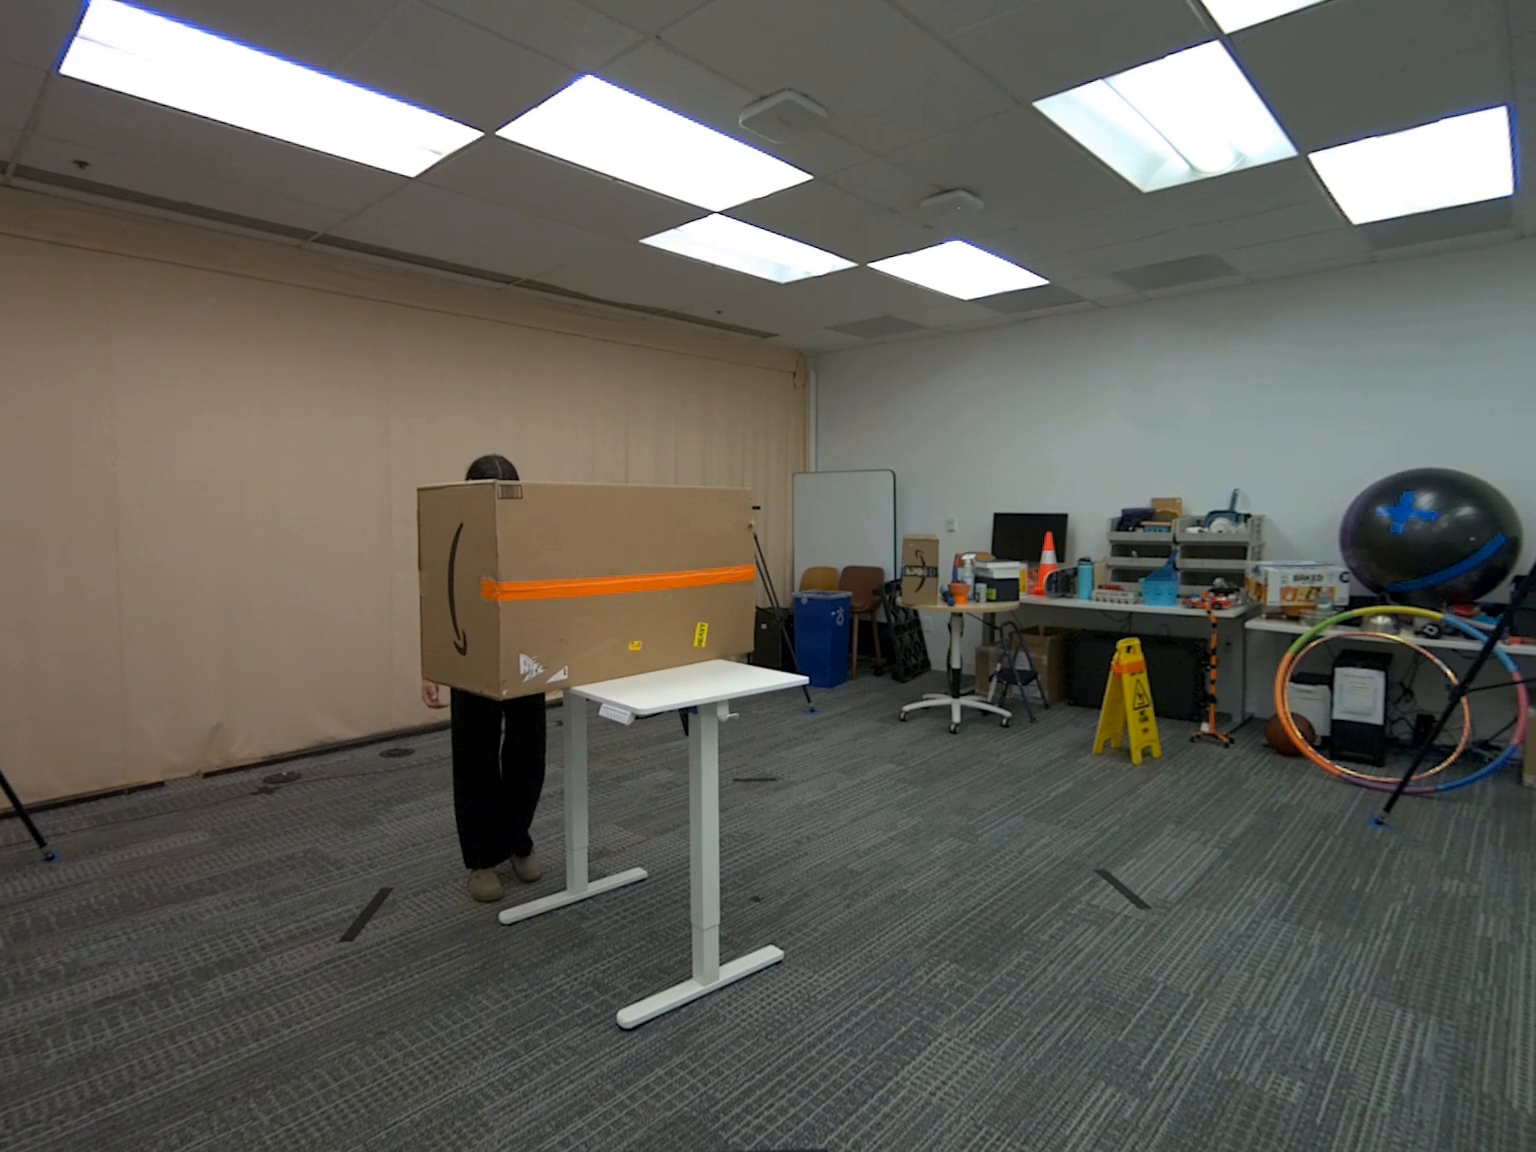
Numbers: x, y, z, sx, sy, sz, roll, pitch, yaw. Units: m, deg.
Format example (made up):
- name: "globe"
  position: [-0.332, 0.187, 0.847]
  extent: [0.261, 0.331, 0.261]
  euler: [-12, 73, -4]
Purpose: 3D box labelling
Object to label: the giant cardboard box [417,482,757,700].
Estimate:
- name: "giant cardboard box"
  position: [-0.532, 0.001, 2.701]
  extent: [0.440, 0.576, 0.994]
  euler: [3, 5, 42]
